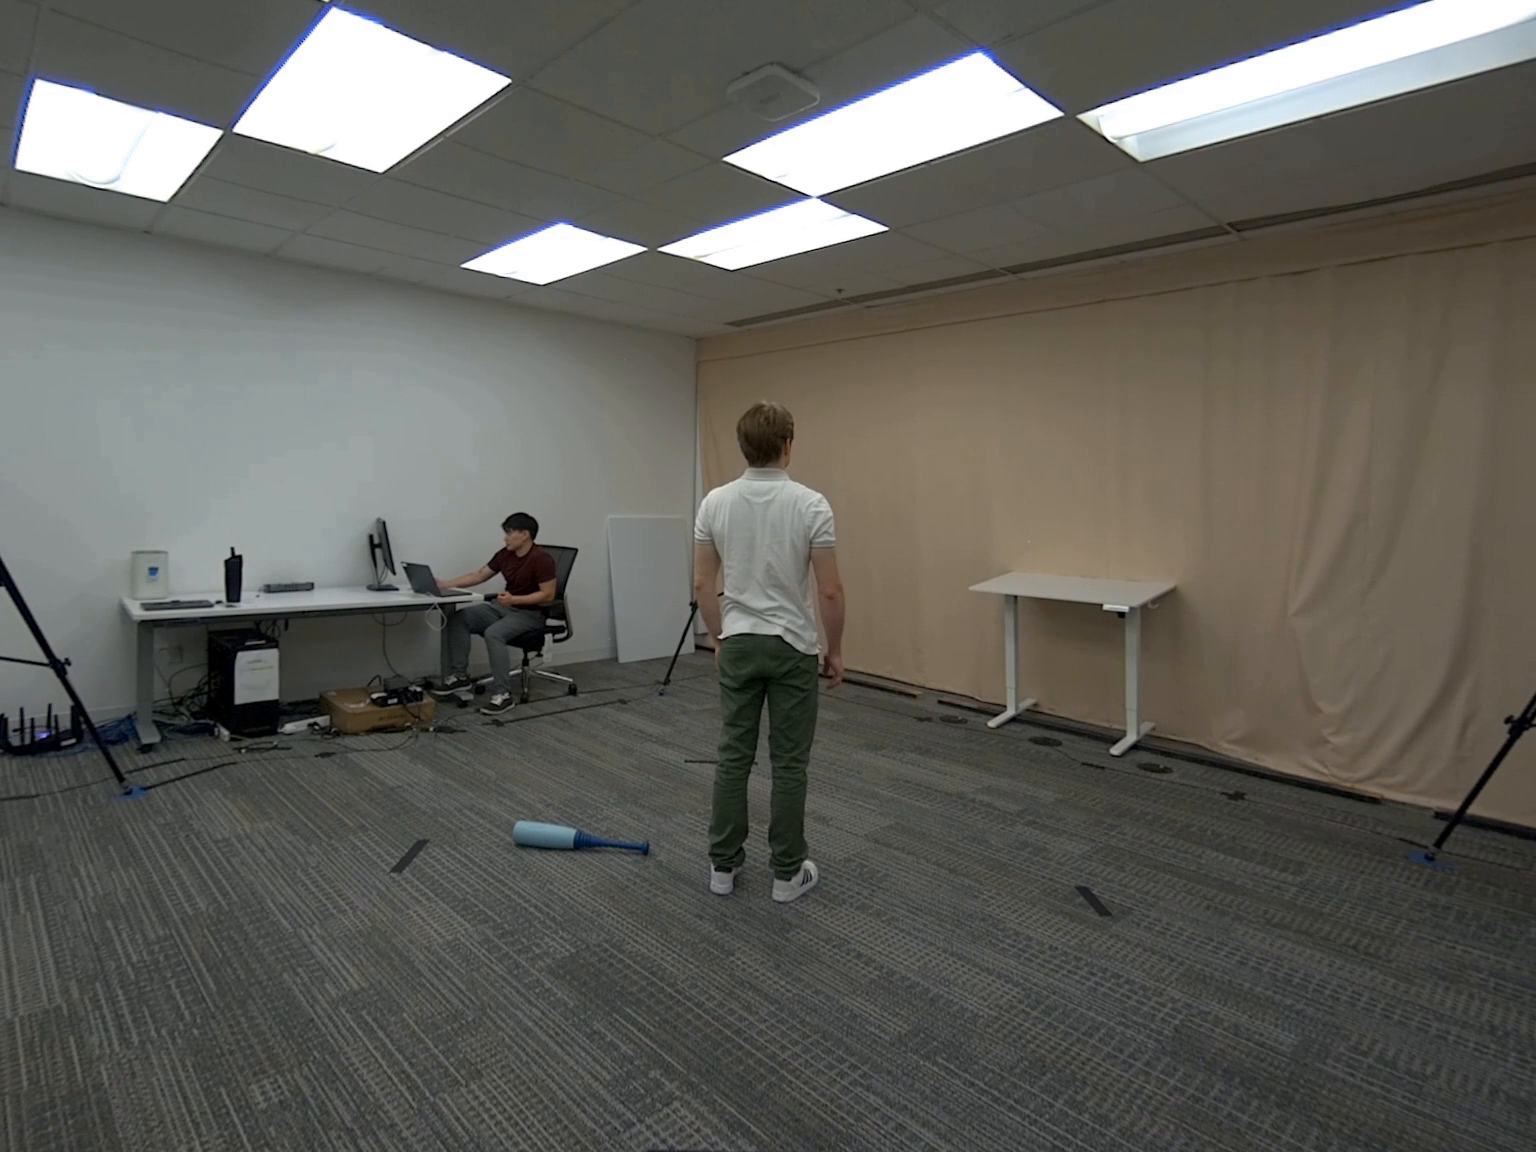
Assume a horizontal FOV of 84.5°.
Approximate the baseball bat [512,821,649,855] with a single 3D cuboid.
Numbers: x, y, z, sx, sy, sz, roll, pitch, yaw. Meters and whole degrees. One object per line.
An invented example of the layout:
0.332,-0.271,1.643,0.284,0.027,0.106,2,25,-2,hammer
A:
-0.736,1.039,3.295,0.546,0.089,0.089,6,5,7,baseball bat
